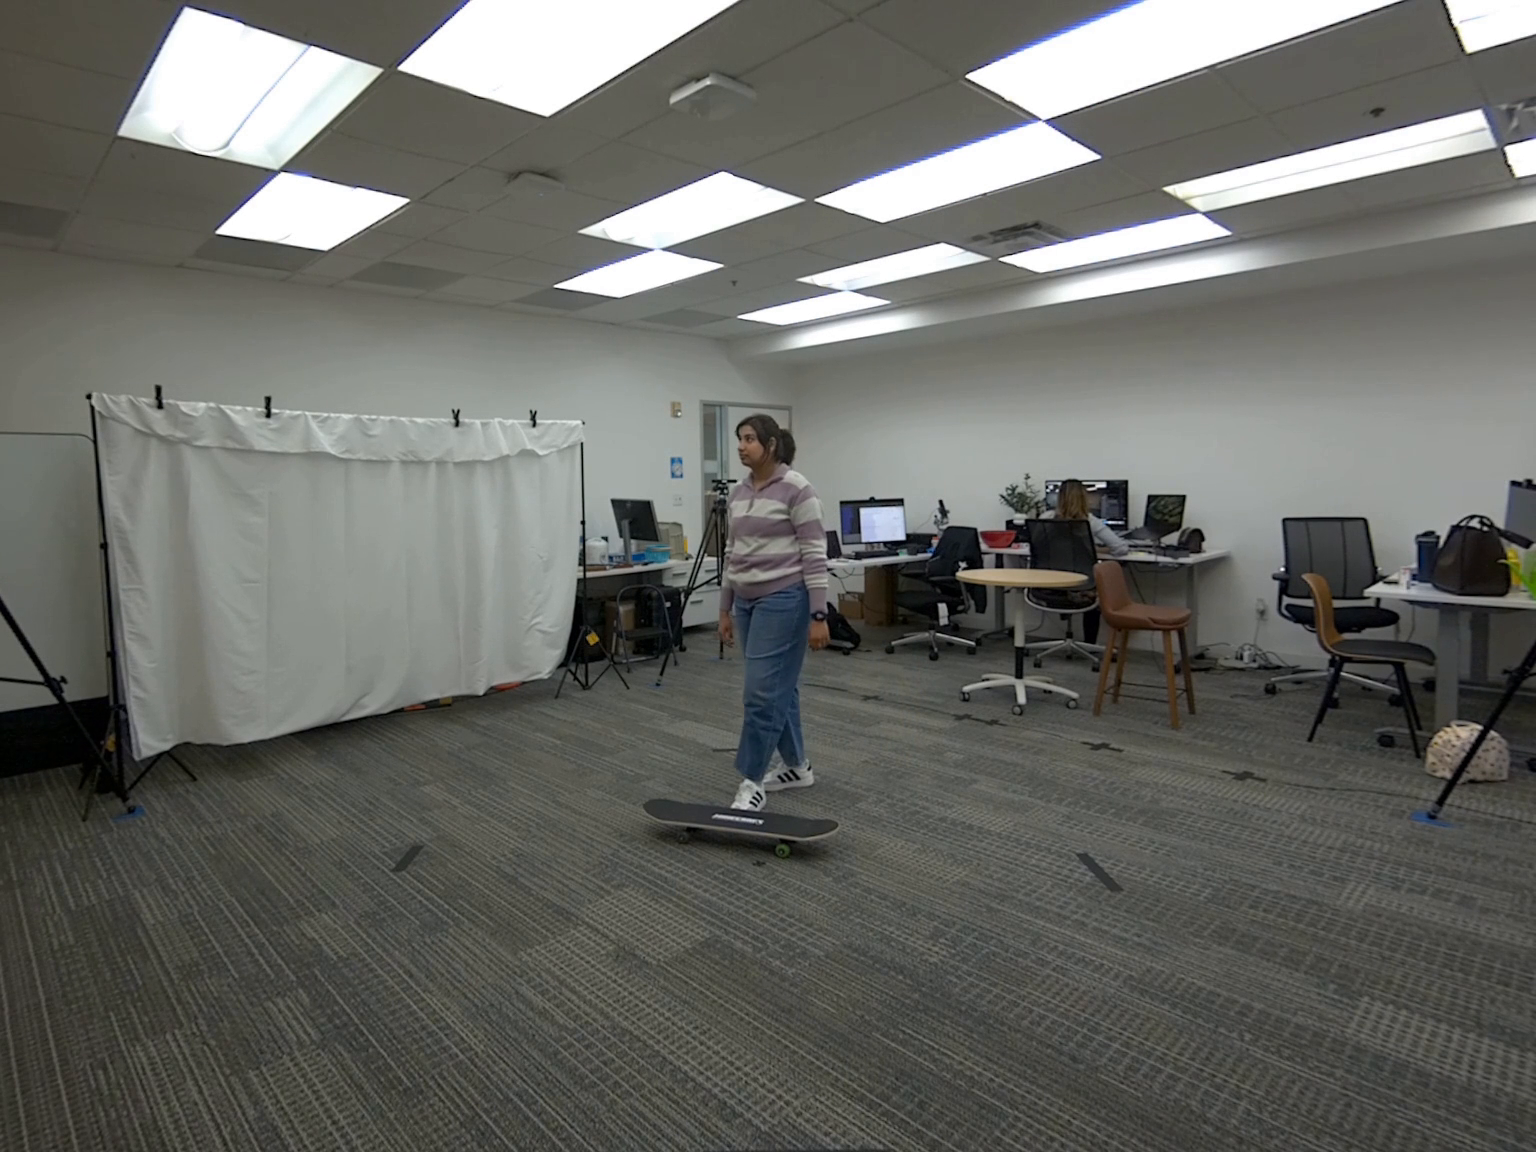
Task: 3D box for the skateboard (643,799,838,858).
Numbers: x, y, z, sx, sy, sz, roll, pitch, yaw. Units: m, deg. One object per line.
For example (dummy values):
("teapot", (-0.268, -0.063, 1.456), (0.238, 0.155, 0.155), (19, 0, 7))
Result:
("skateboard", (-0.113, 0.970, 3.297), (0.800, 0.110, 0.191), (2, 6, 20))
